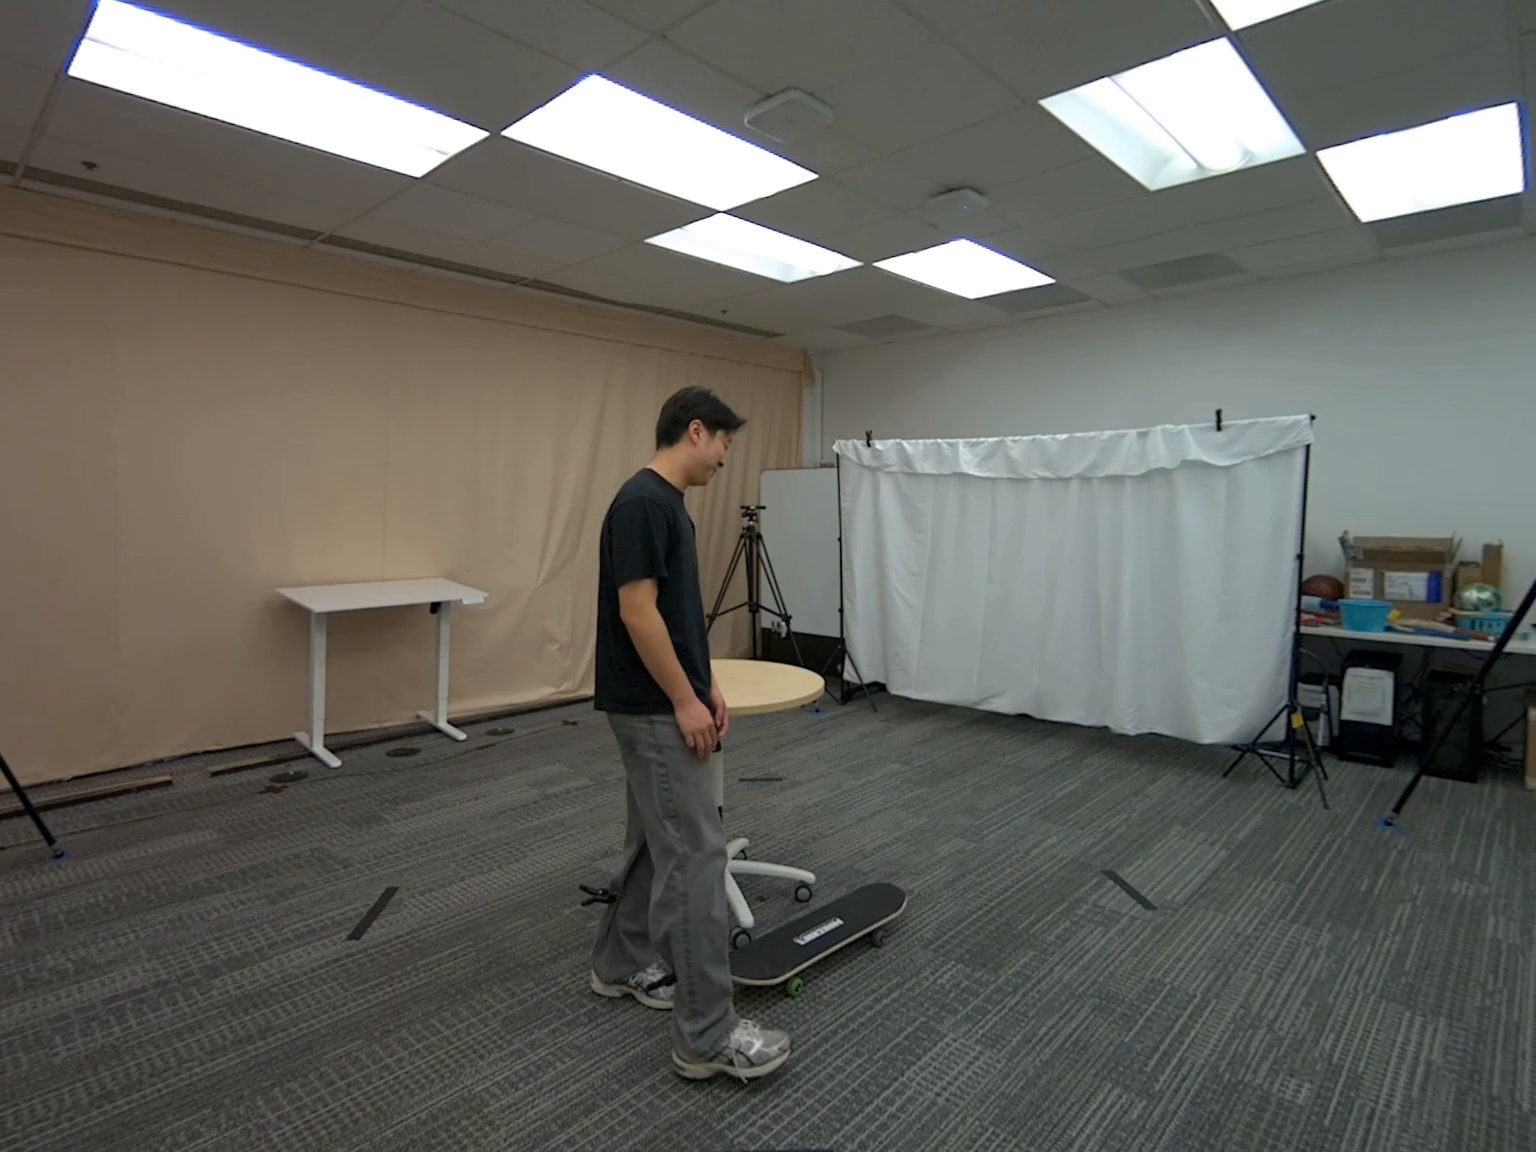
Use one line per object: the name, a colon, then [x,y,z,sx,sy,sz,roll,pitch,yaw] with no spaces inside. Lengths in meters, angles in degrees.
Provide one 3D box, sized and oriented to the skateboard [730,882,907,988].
skateboard: [0.157,1.128,2.576,0.761,0.110,0.200,-5,6,-45]
